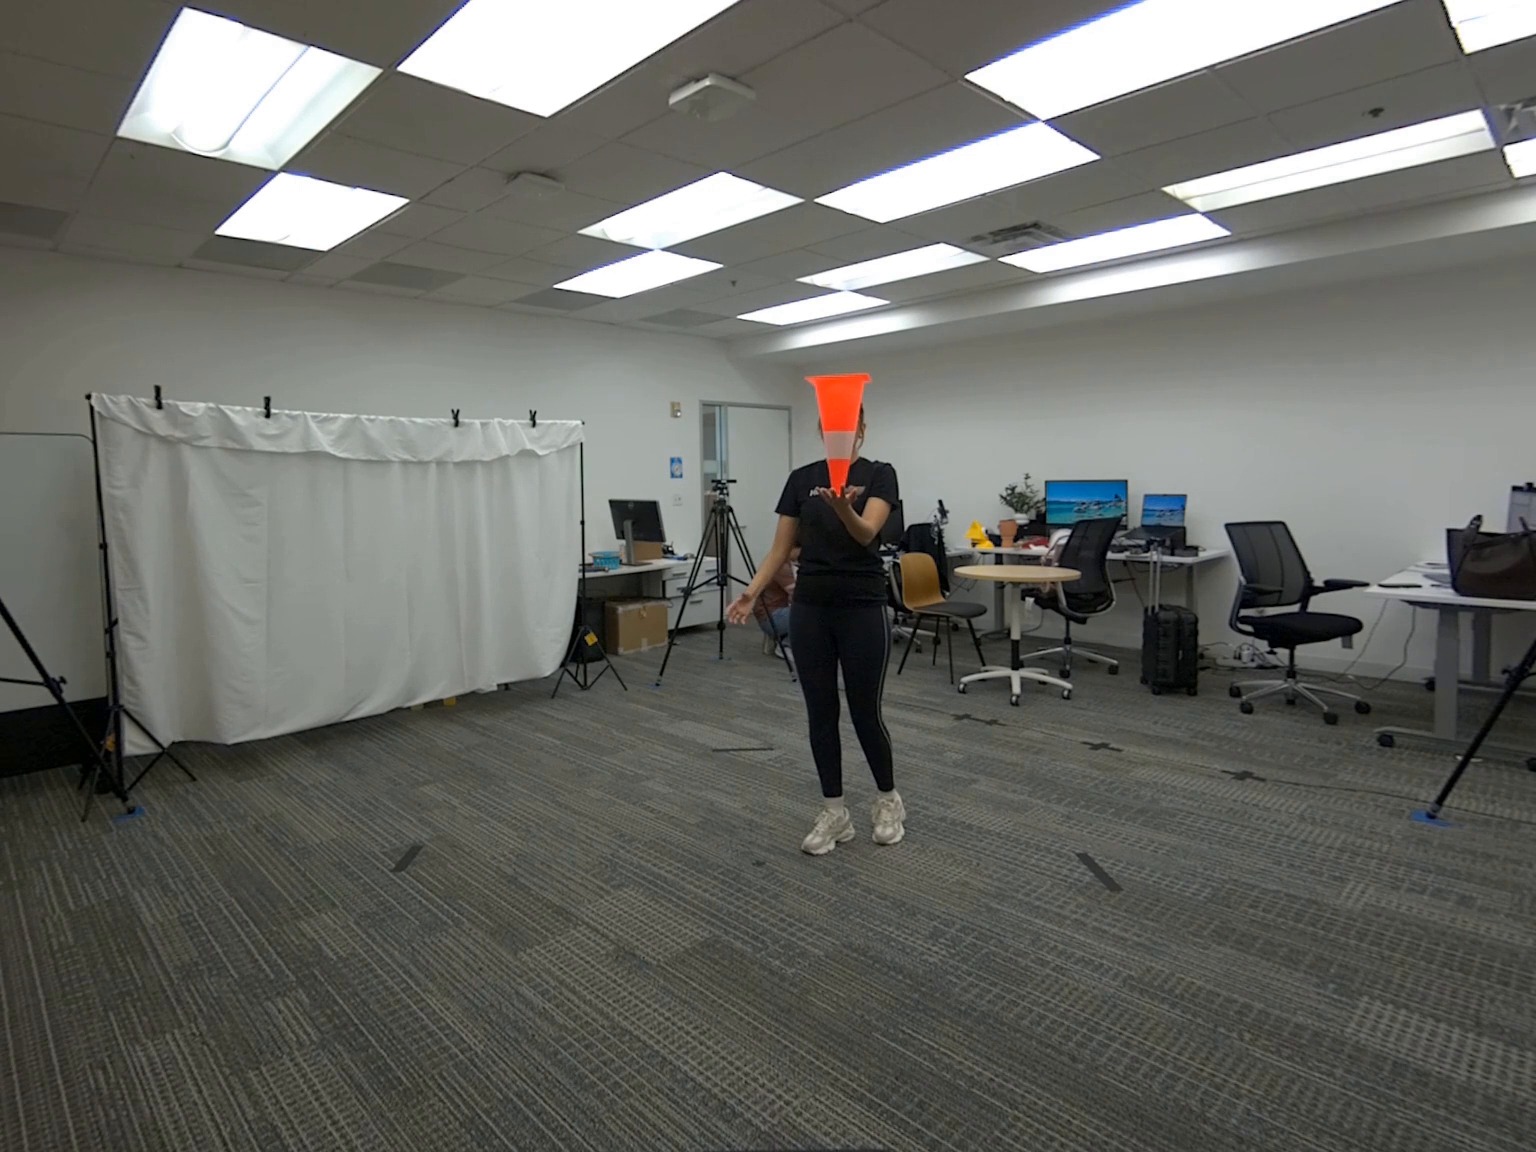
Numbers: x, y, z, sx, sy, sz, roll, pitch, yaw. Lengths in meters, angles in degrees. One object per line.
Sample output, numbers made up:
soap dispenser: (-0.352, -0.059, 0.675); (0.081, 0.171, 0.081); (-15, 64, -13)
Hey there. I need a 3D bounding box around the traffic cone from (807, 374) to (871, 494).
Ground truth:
traffic cone: (0.240, -0.441, 2.748); (0.207, 0.383, 0.201); (0, 3, 12)
